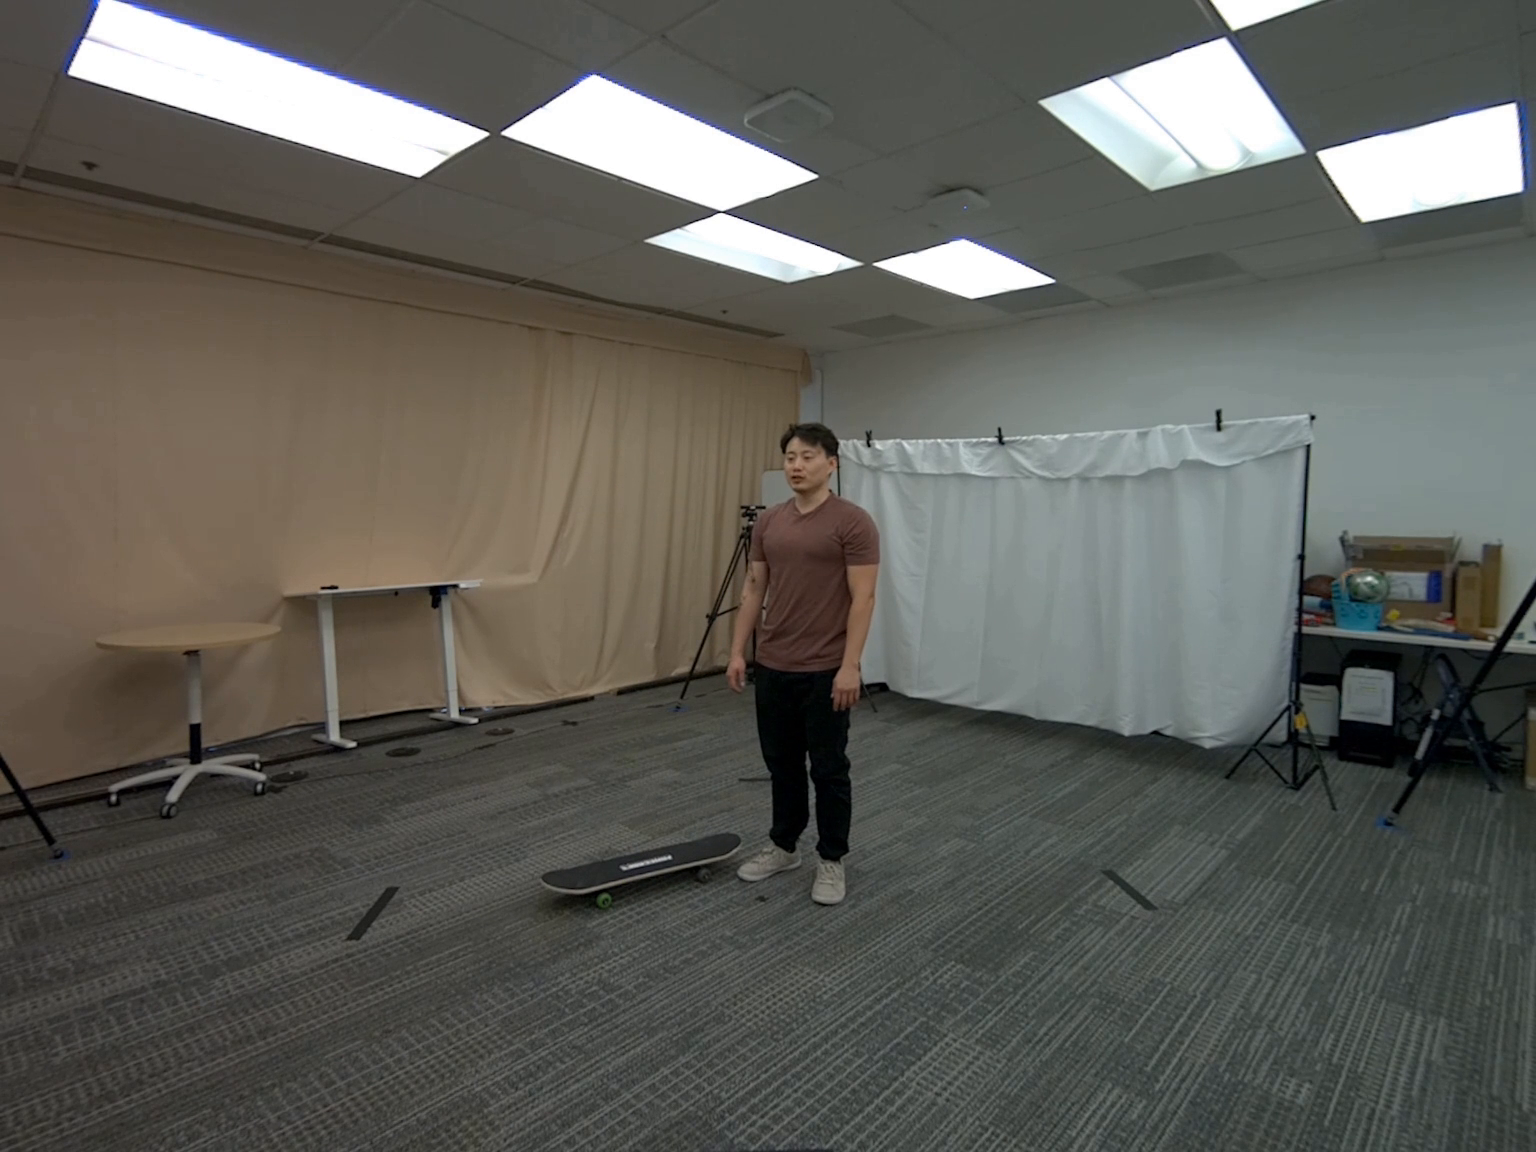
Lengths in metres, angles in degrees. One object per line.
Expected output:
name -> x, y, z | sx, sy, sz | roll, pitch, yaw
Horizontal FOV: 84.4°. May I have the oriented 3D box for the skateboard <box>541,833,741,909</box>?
skateboard -> -0.446, 1.088, 3.088 | 0.764, 0.110, 0.199 | -3, 4, -30
